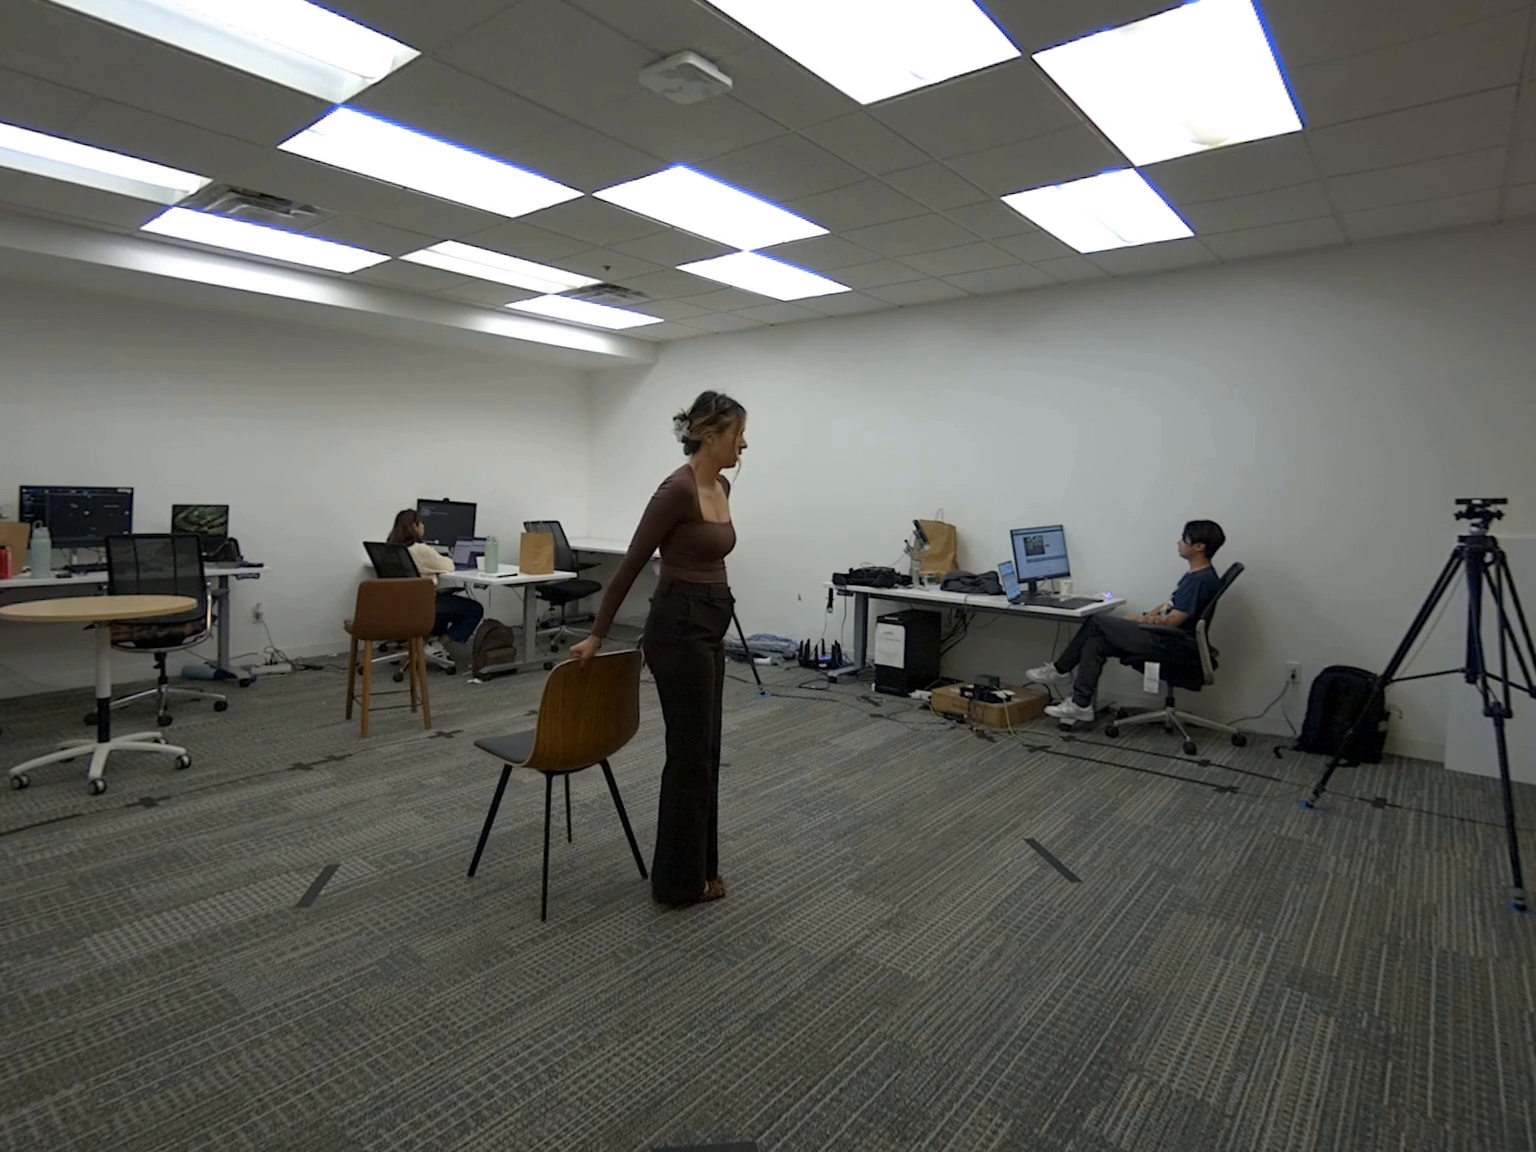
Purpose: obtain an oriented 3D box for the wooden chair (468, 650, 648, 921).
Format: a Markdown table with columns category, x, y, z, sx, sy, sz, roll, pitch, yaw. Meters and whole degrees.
| category | x | y | z | sx | sy | sz | roll | pitch | yaw |
| --- | --- | --- | --- | --- | --- | --- | --- | --- | --- |
| wooden chair | -0.750 | 0.644 | 2.999 | 0.542 | 0.872 | 0.464 | 10 | 9 | 41 |
